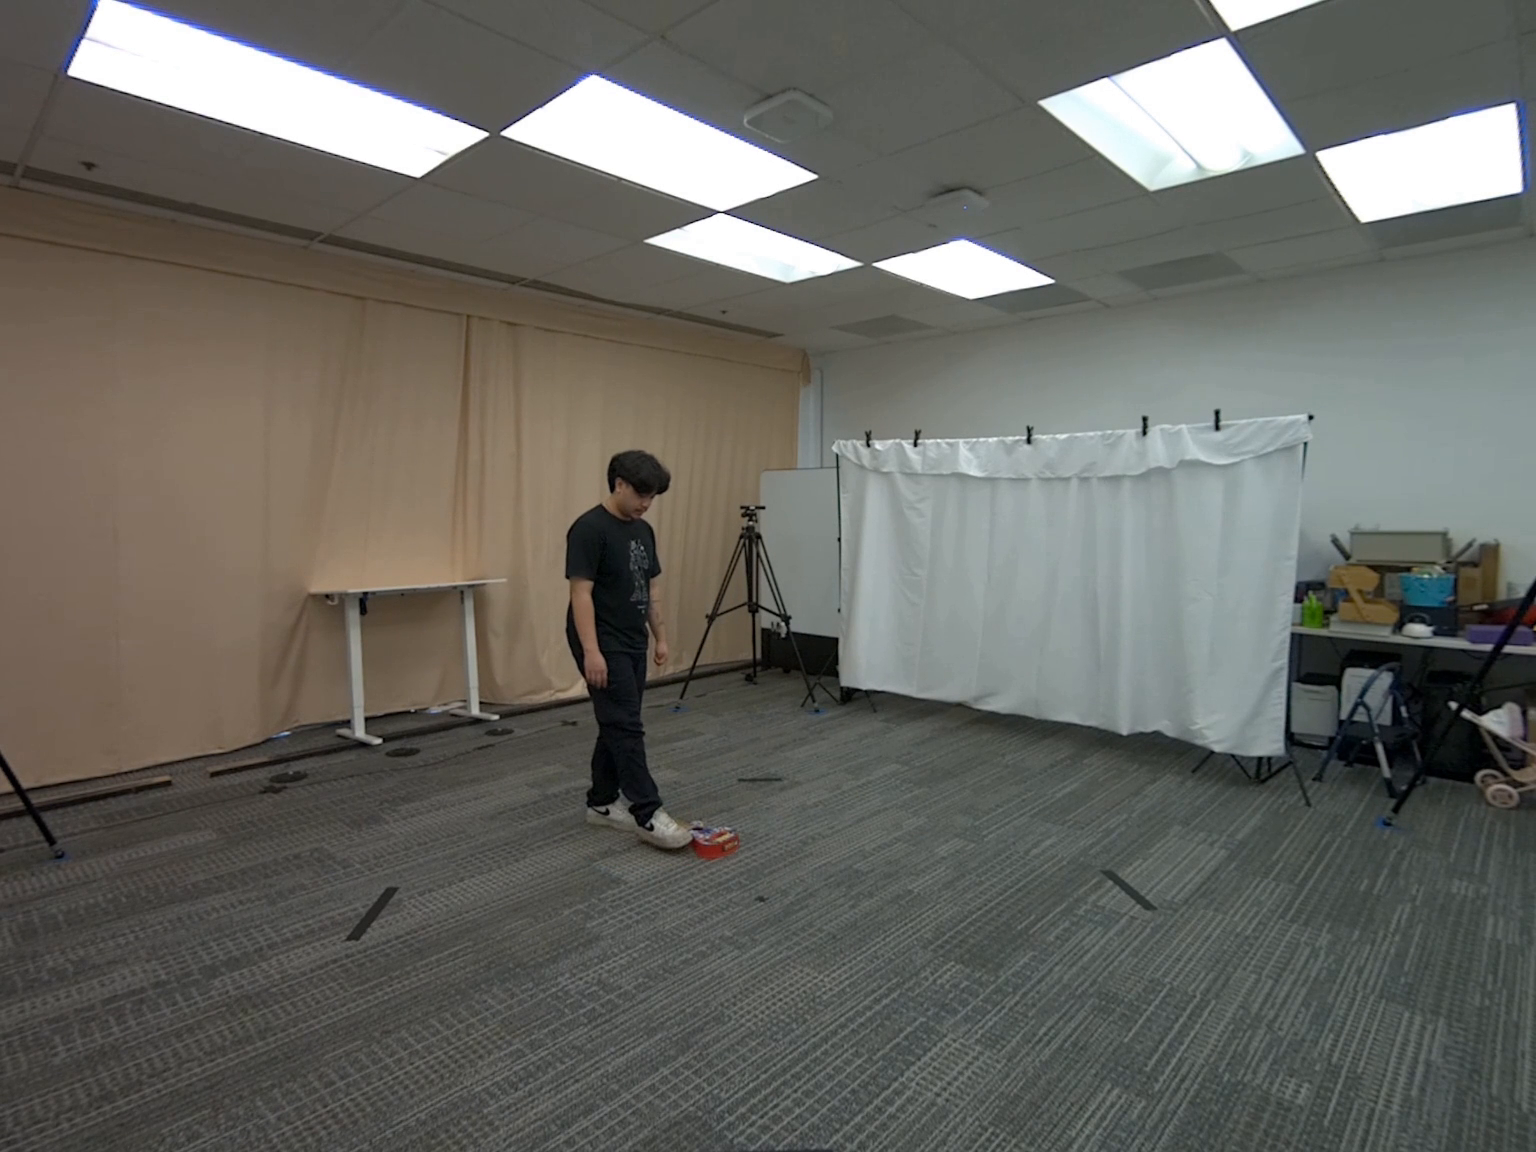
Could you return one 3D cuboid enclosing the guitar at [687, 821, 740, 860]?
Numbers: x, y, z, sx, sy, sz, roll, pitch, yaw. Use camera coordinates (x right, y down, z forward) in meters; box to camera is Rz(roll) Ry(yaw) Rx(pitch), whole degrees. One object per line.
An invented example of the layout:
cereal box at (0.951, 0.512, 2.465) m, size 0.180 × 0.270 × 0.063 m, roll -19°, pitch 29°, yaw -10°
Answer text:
guitar at (-0.335, 1.068, 3.542) m, size 0.187 × 0.070 × 0.514 m, roll -5°, pitch 6°, yaw -40°
